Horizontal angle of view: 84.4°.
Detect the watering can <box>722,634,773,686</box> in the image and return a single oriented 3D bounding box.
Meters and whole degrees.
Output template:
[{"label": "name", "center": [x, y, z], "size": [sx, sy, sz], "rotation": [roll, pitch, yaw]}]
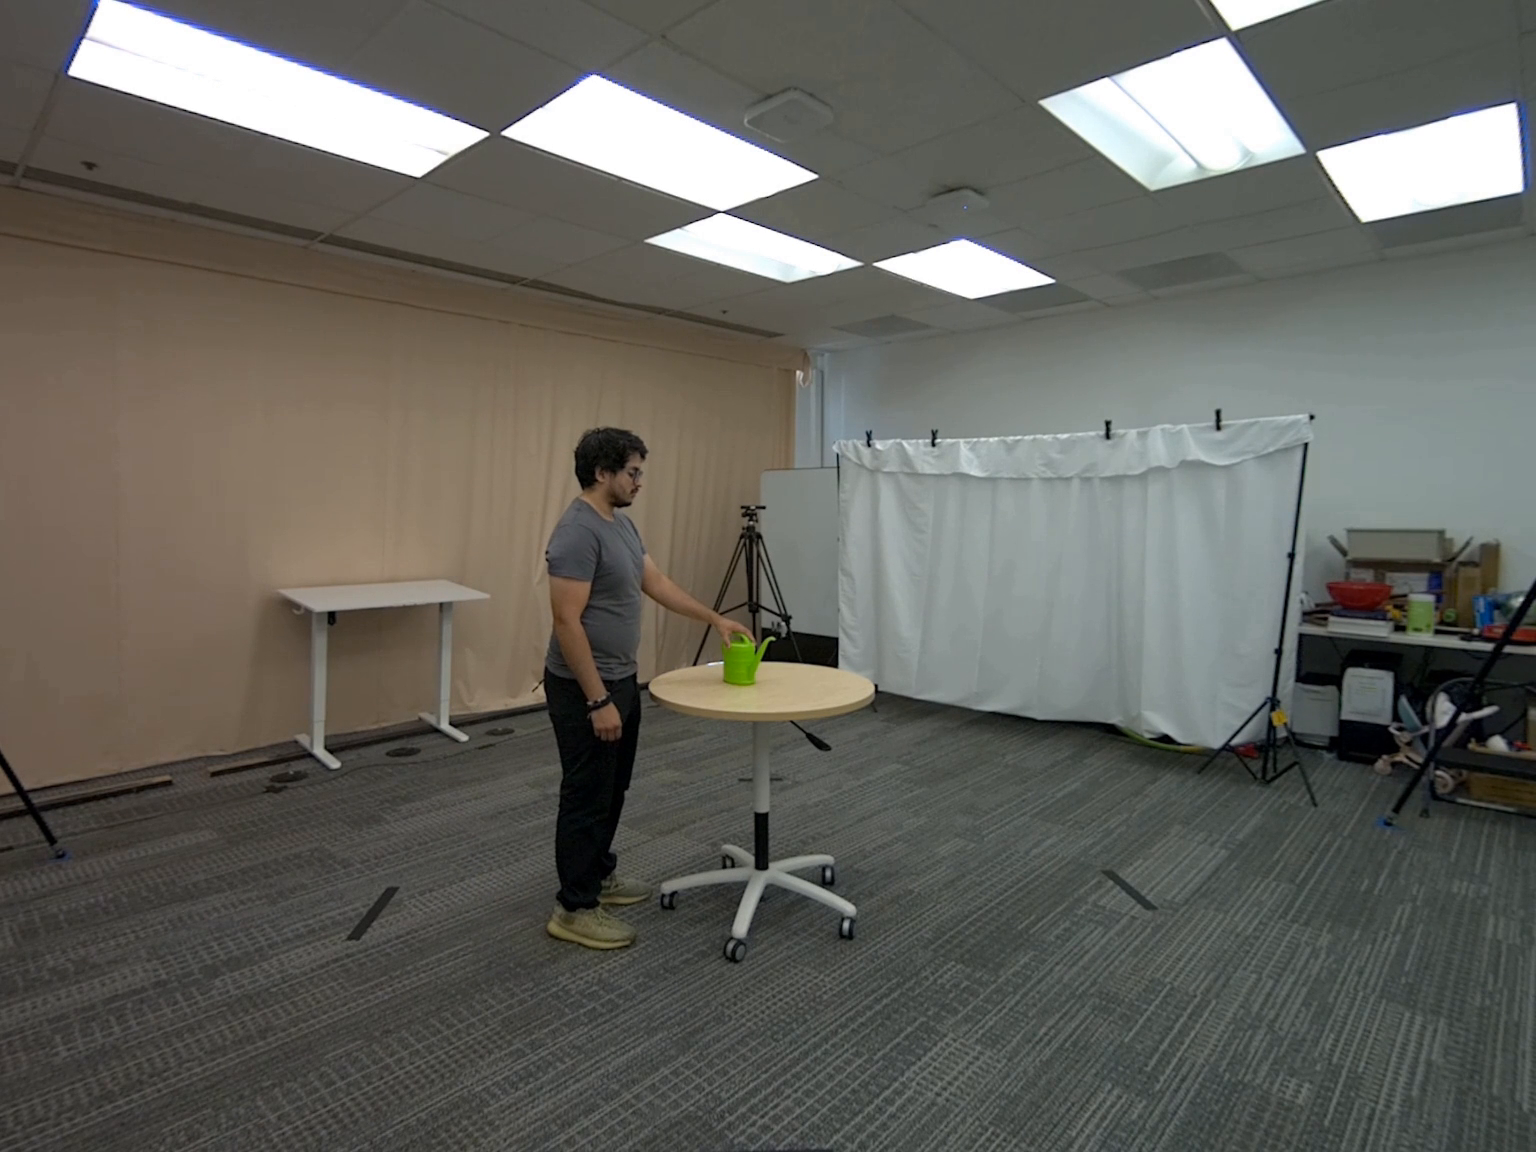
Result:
[{"label": "watering can", "center": [-0.076, 0.288, 2.859], "size": [0.095, 0.176, 0.286], "rotation": [-3, 4, -29]}]
